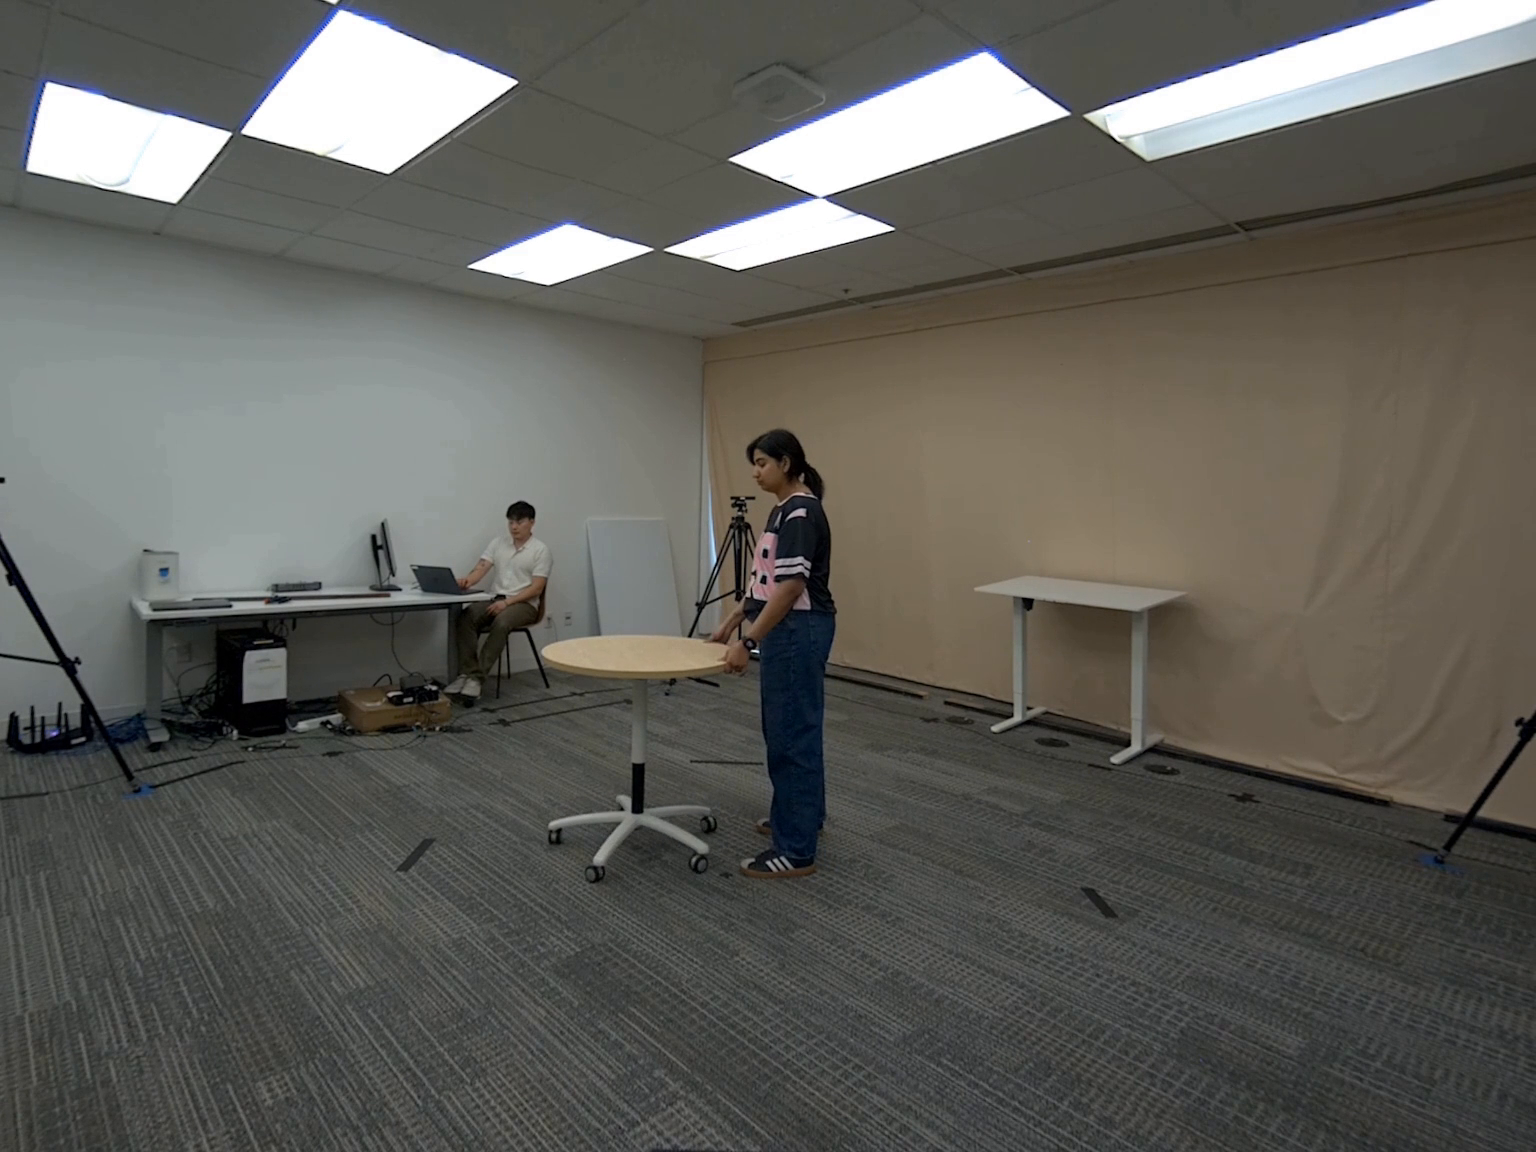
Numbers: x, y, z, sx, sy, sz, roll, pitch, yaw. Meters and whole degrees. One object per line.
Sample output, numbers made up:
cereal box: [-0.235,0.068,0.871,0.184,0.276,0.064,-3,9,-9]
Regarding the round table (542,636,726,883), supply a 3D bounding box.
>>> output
round table: [-0.521,0.686,3.322,0.763,0.792,0.766,1,4,-1]
